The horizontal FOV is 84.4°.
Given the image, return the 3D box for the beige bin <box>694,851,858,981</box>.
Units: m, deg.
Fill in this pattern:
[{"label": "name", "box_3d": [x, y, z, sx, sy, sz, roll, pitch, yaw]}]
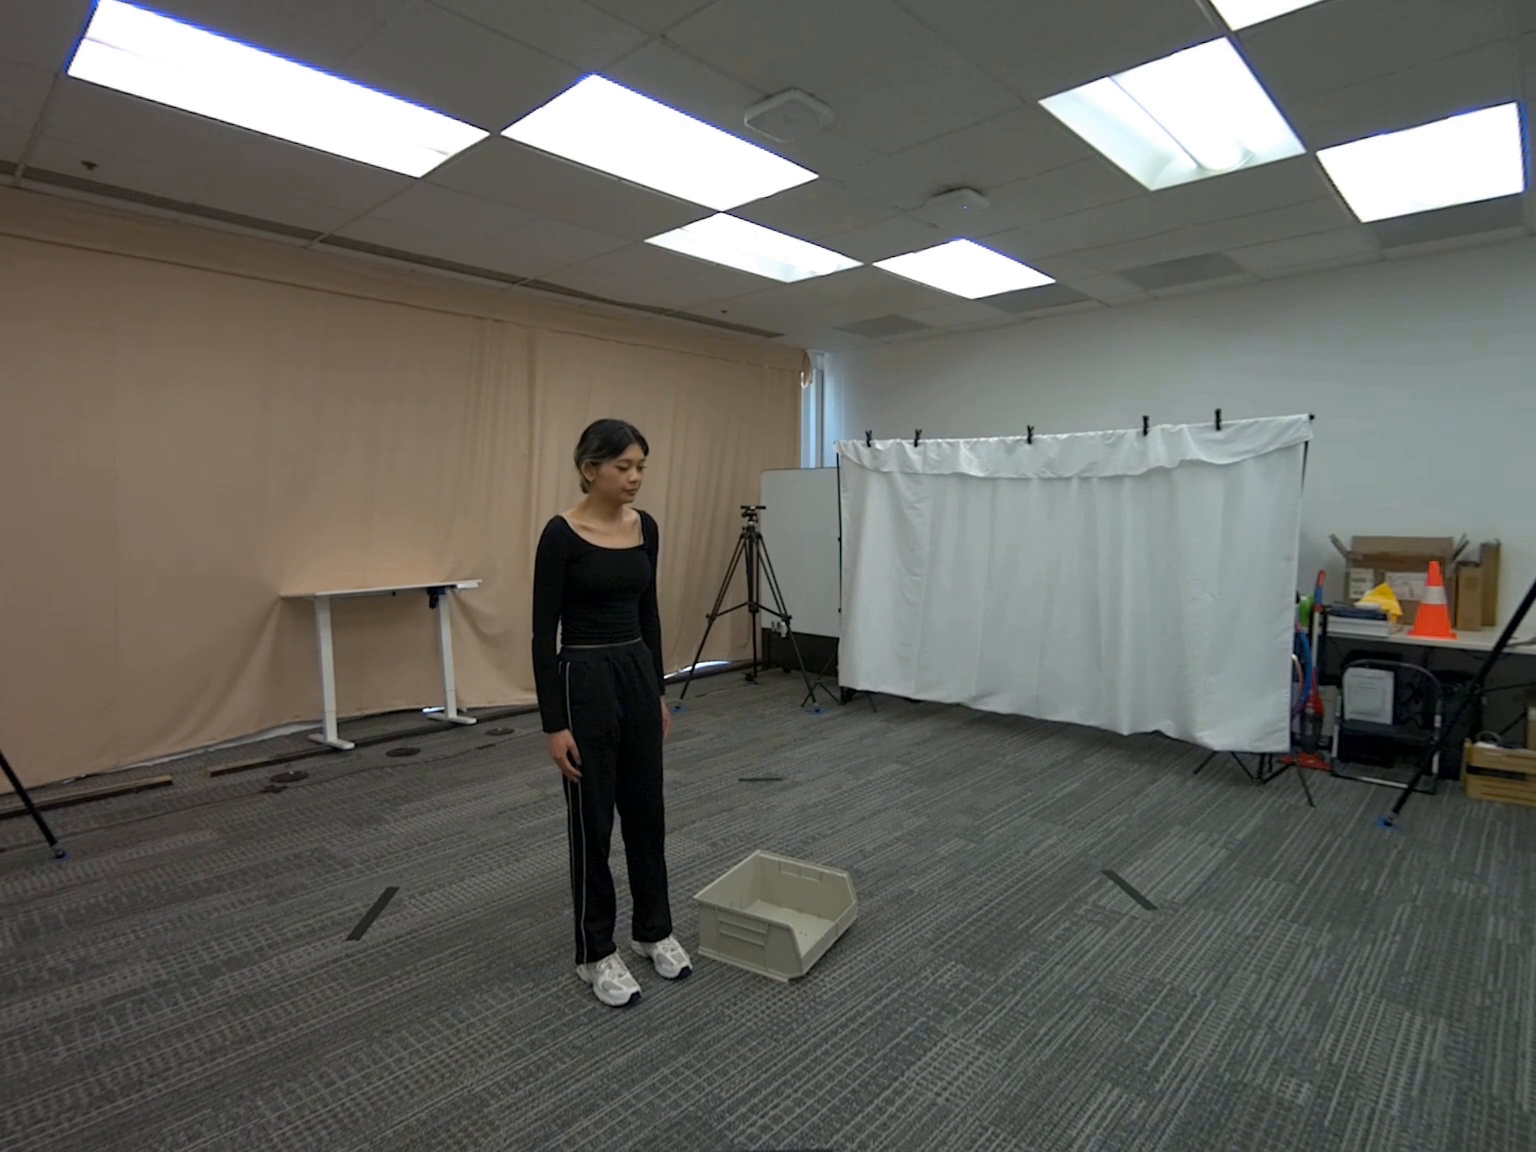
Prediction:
[{"label": "beige bin", "box_3d": [0.034, 1.084, 2.696, 0.388, 0.188, 0.411, 2, 6, 30]}]
